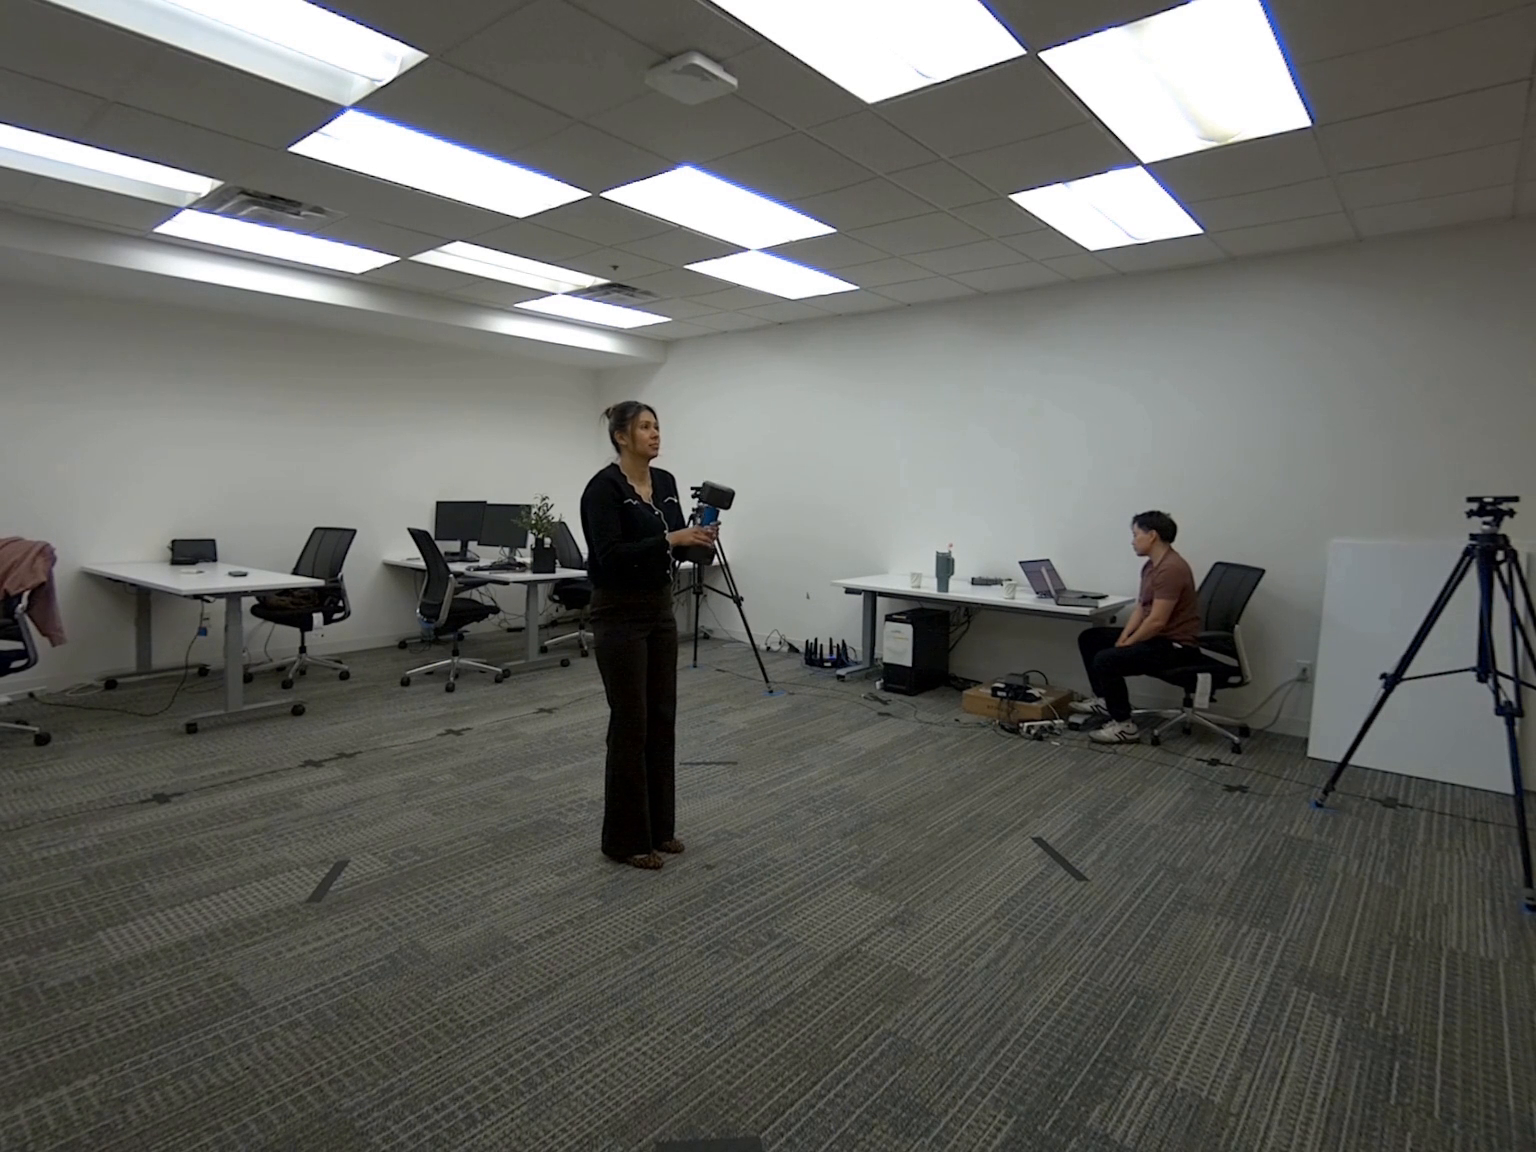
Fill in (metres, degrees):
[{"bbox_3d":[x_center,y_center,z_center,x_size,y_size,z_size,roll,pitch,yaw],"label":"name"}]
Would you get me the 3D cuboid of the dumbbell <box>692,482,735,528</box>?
[{"bbox_3d":[-0.230,-0.194,3.046,0.105,0.293,0.127,16,5,-34],"label":"dumbbell"}]
